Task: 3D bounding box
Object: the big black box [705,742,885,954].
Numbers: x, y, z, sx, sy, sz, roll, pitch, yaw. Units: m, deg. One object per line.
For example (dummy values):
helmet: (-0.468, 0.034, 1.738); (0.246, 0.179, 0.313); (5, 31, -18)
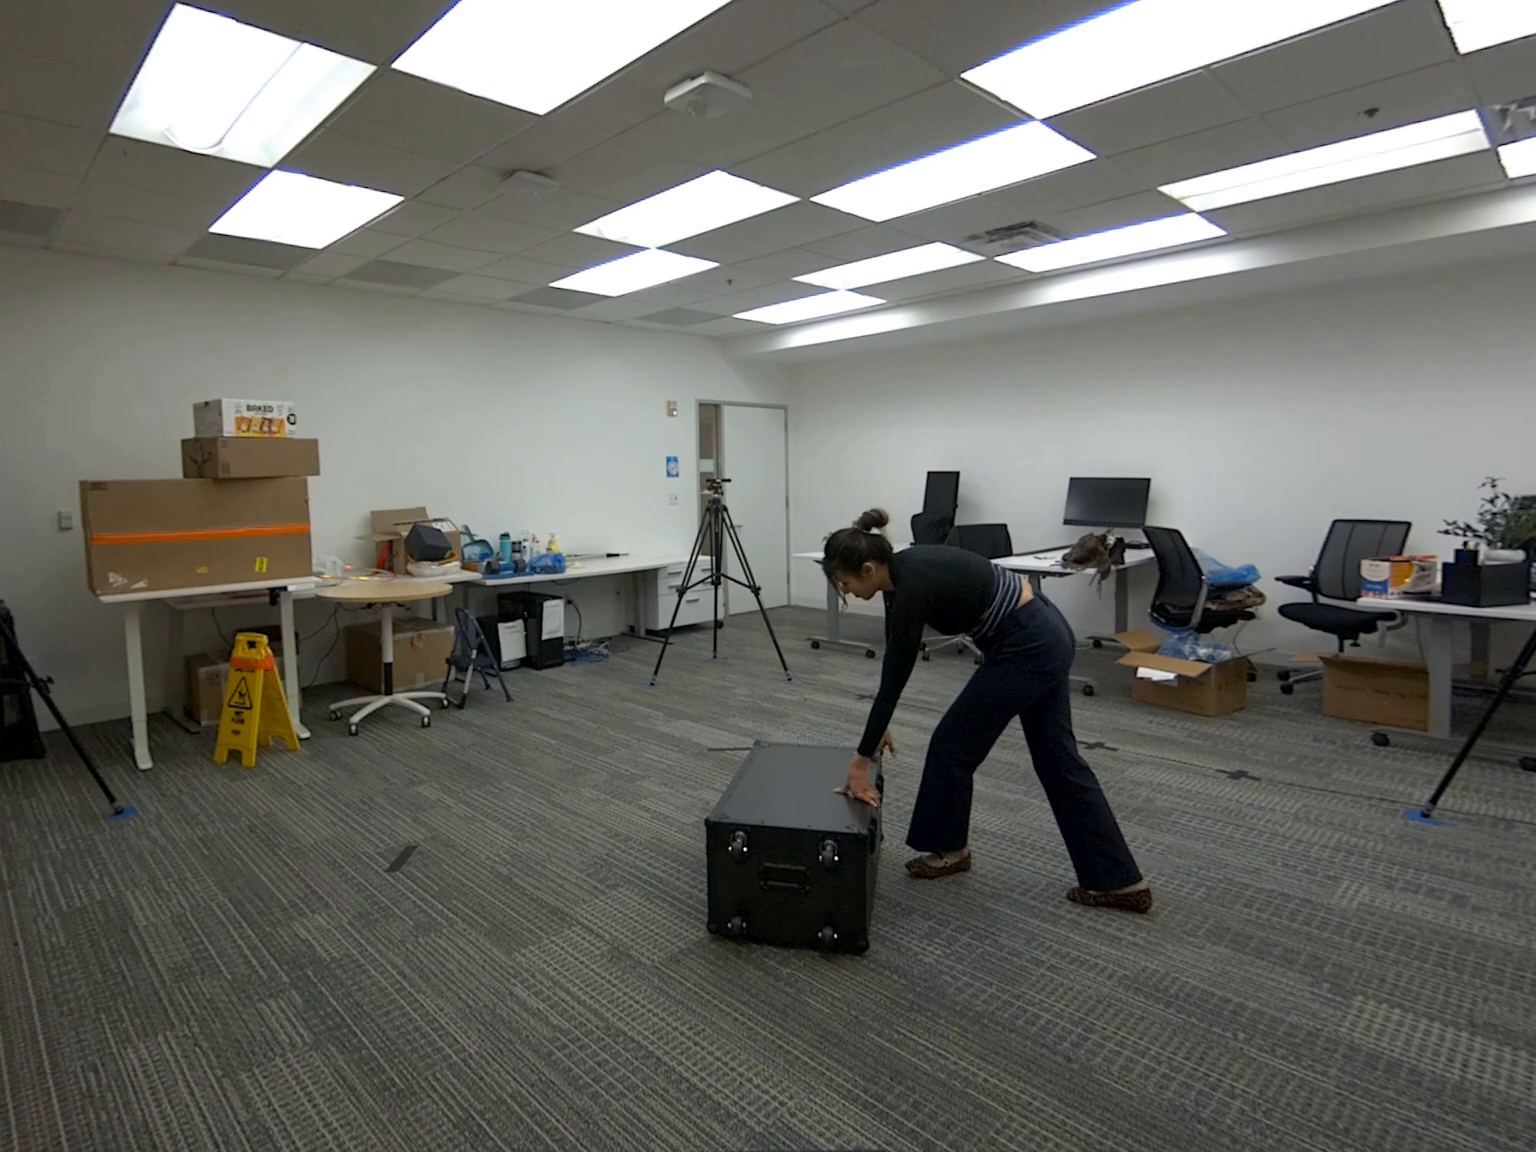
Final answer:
big black box: (0.111, 0.876, 2.863); (0.528, 0.394, 0.854); (1, 6, 12)
